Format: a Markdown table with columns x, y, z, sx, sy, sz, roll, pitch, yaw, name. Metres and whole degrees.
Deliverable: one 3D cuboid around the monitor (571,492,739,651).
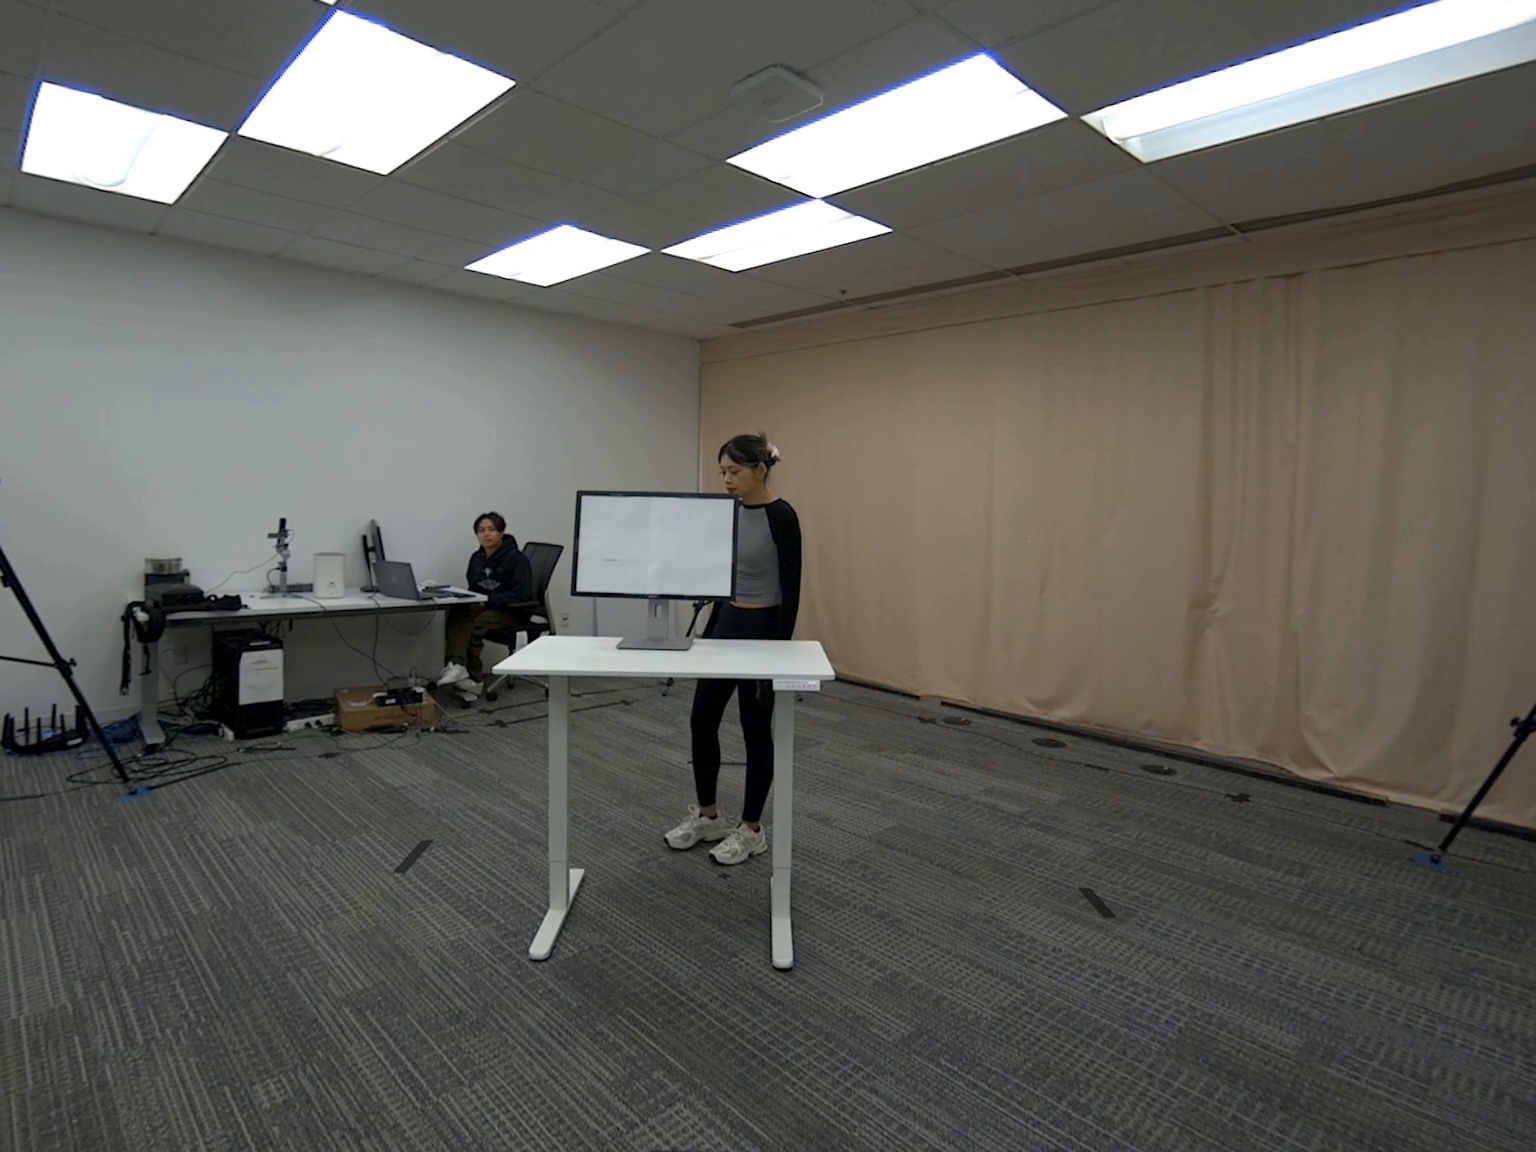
| x | y | z | sx | sy | sz | roll | pitch | yaw | name |
| --- | --- | --- | --- | --- | --- | --- | --- | --- | --- |
| -0.381 | -0.019 | 2.888 | 0.540 | 0.520 | 0.187 | 1 | 6 | 2 | monitor |
